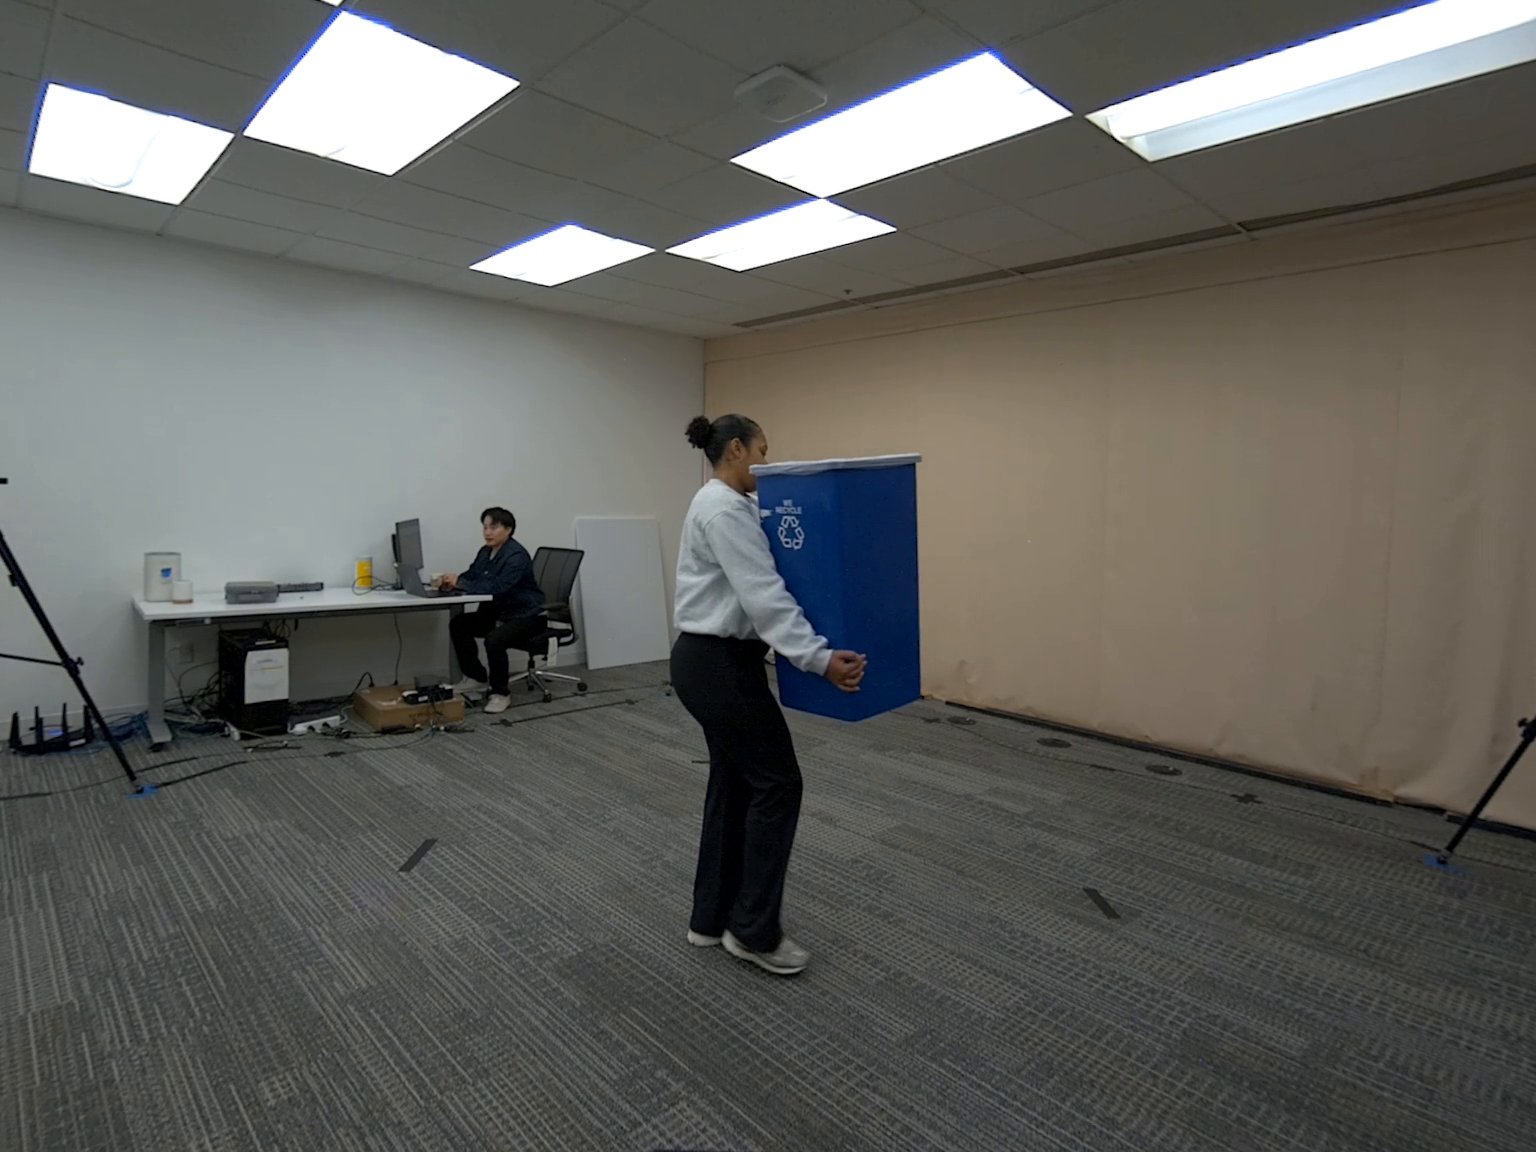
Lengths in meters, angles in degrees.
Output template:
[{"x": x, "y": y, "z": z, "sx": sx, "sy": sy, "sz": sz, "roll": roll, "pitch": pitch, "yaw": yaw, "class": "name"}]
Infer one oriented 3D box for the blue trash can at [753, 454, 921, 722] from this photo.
[{"x": 0.214, "y": 0.019, "z": 2.433, "sx": 0.366, "sy": 0.711, "sz": 0.387, "roll": -9, "pitch": 7, "yaw": -41, "class": "blue trash can"}]
